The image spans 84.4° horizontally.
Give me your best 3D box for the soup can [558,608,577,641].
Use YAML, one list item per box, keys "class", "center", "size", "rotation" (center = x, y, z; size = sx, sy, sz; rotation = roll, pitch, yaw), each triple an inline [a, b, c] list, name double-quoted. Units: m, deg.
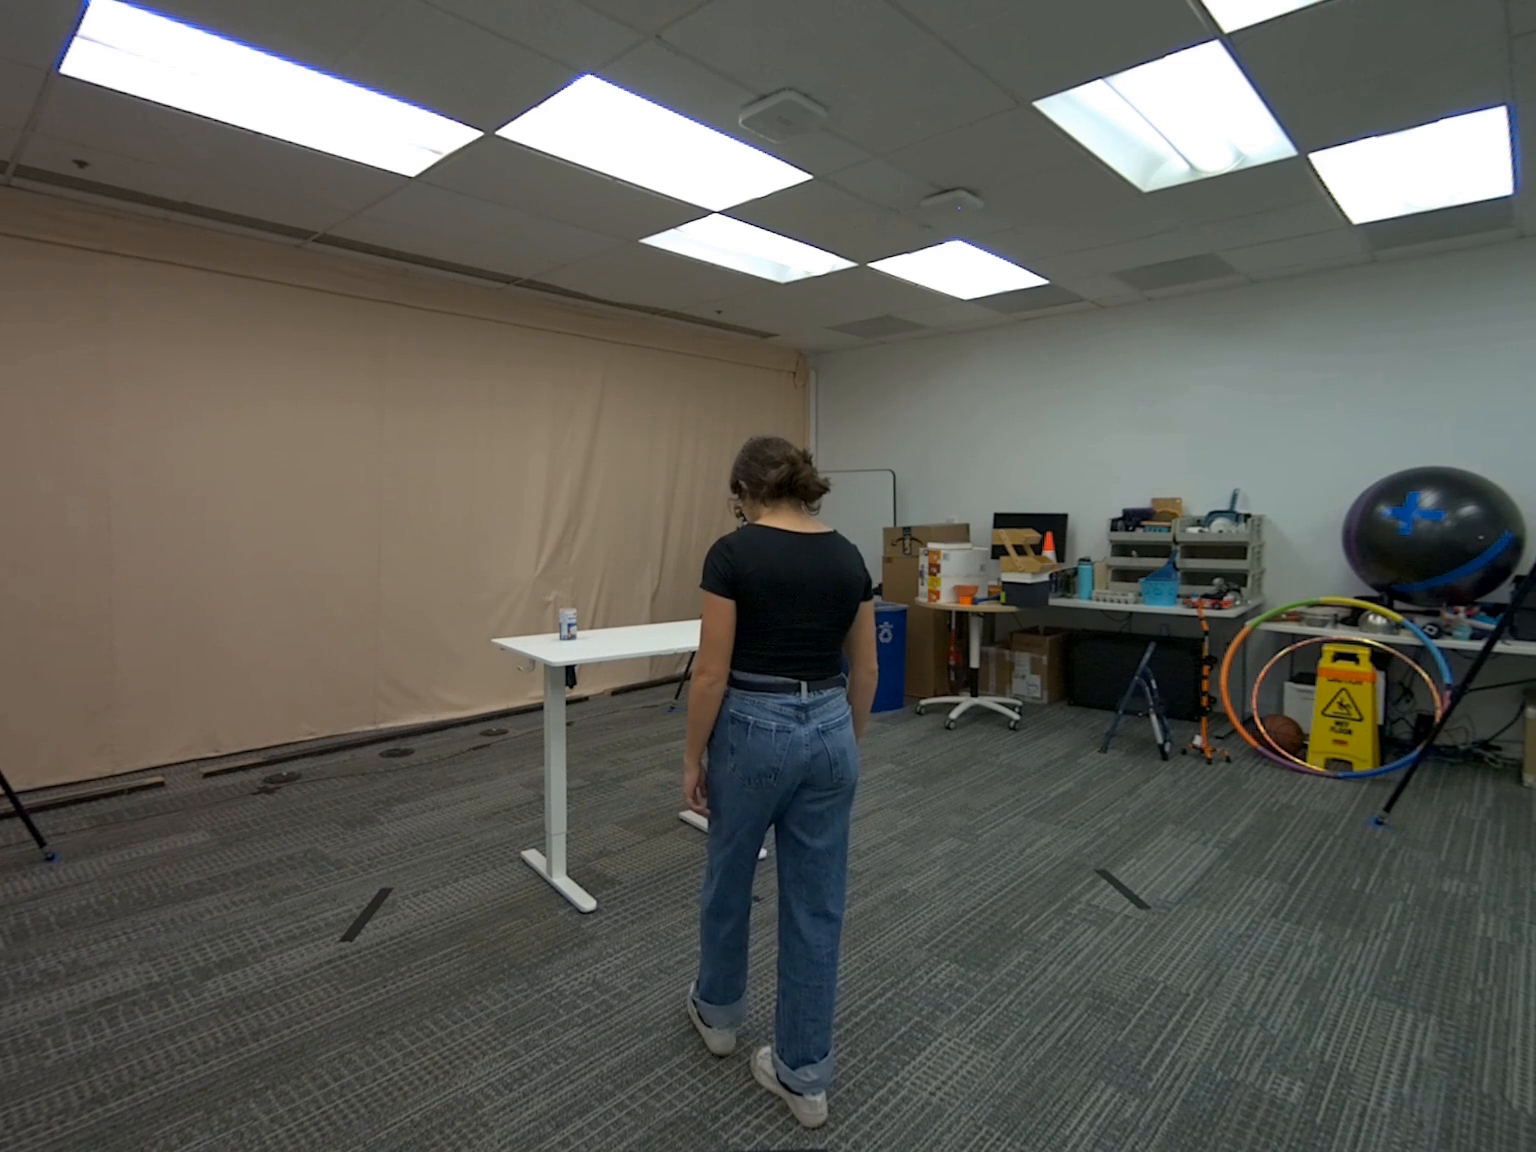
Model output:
- class: "soup can"
  center: [-0.779, 0.190, 3.251]
  size: [0.067, 0.121, 0.067]
  rotation: [-2, 4, -2]
